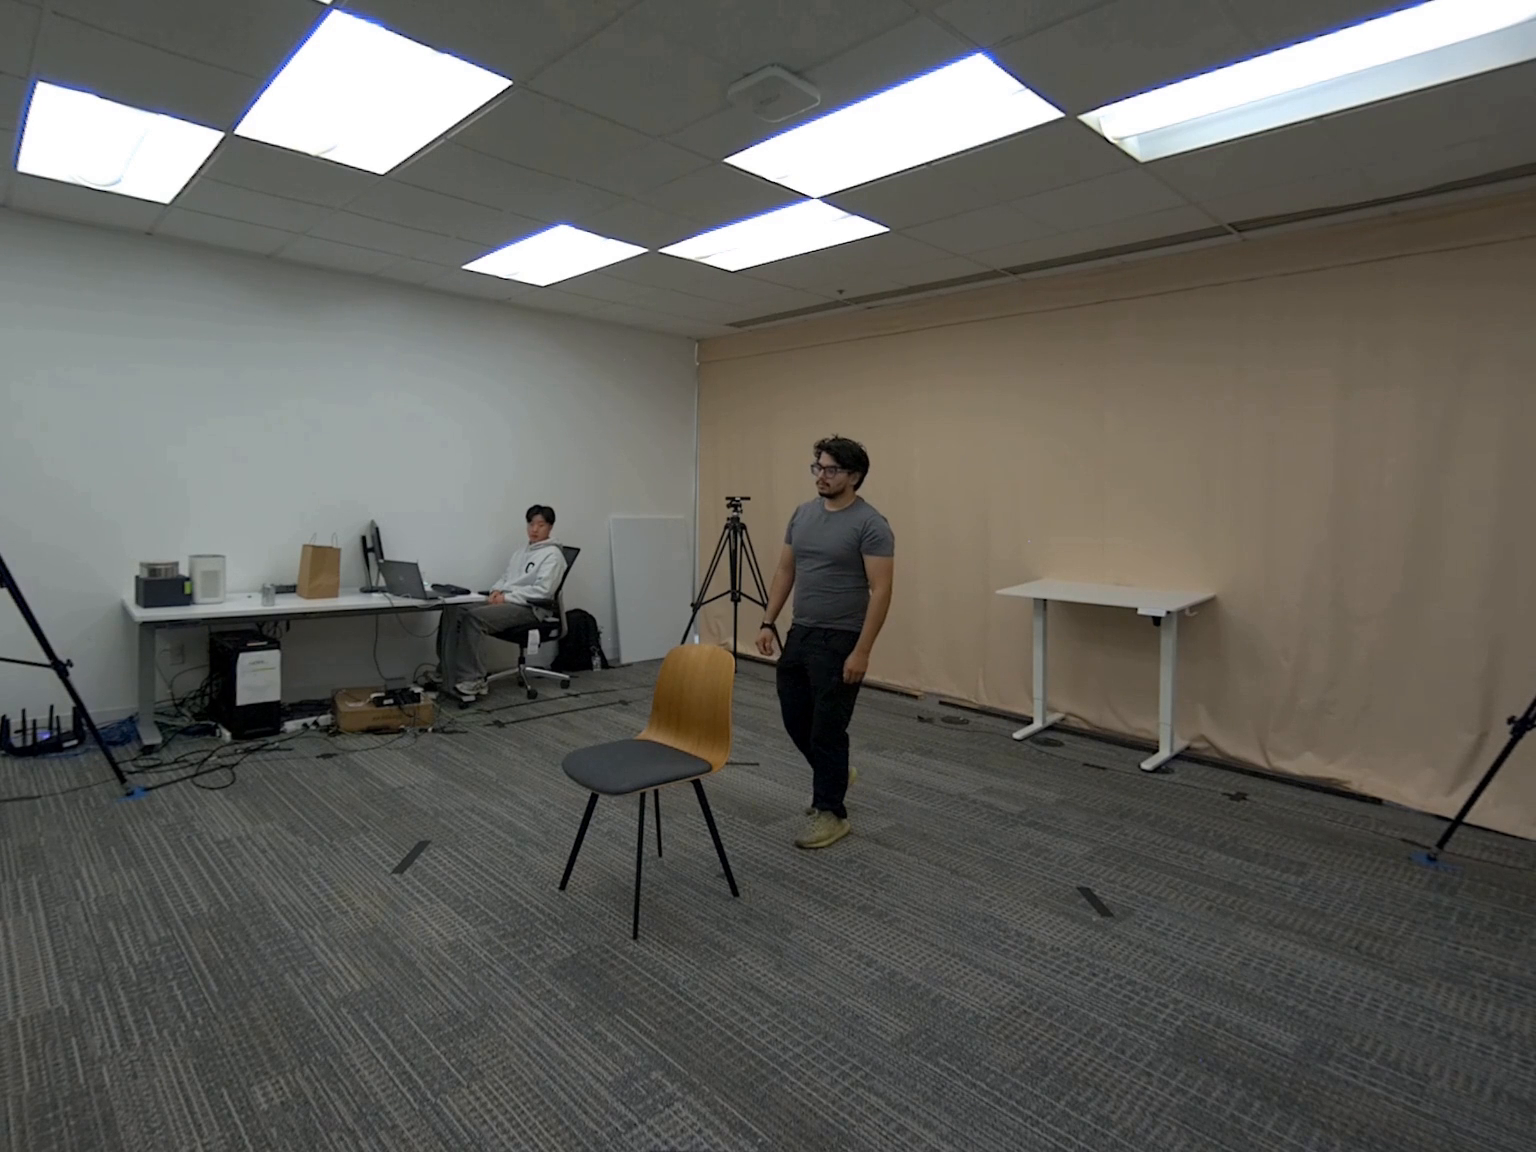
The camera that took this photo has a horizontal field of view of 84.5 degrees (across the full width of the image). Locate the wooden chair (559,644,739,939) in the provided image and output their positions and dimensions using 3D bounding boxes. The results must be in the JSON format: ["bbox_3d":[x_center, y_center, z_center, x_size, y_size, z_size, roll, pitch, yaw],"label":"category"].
[{"bbox_3d":[-0.418,0.692,2.915,0.510,0.877,0.490,4,1,-44],"label":"wooden chair"}]
